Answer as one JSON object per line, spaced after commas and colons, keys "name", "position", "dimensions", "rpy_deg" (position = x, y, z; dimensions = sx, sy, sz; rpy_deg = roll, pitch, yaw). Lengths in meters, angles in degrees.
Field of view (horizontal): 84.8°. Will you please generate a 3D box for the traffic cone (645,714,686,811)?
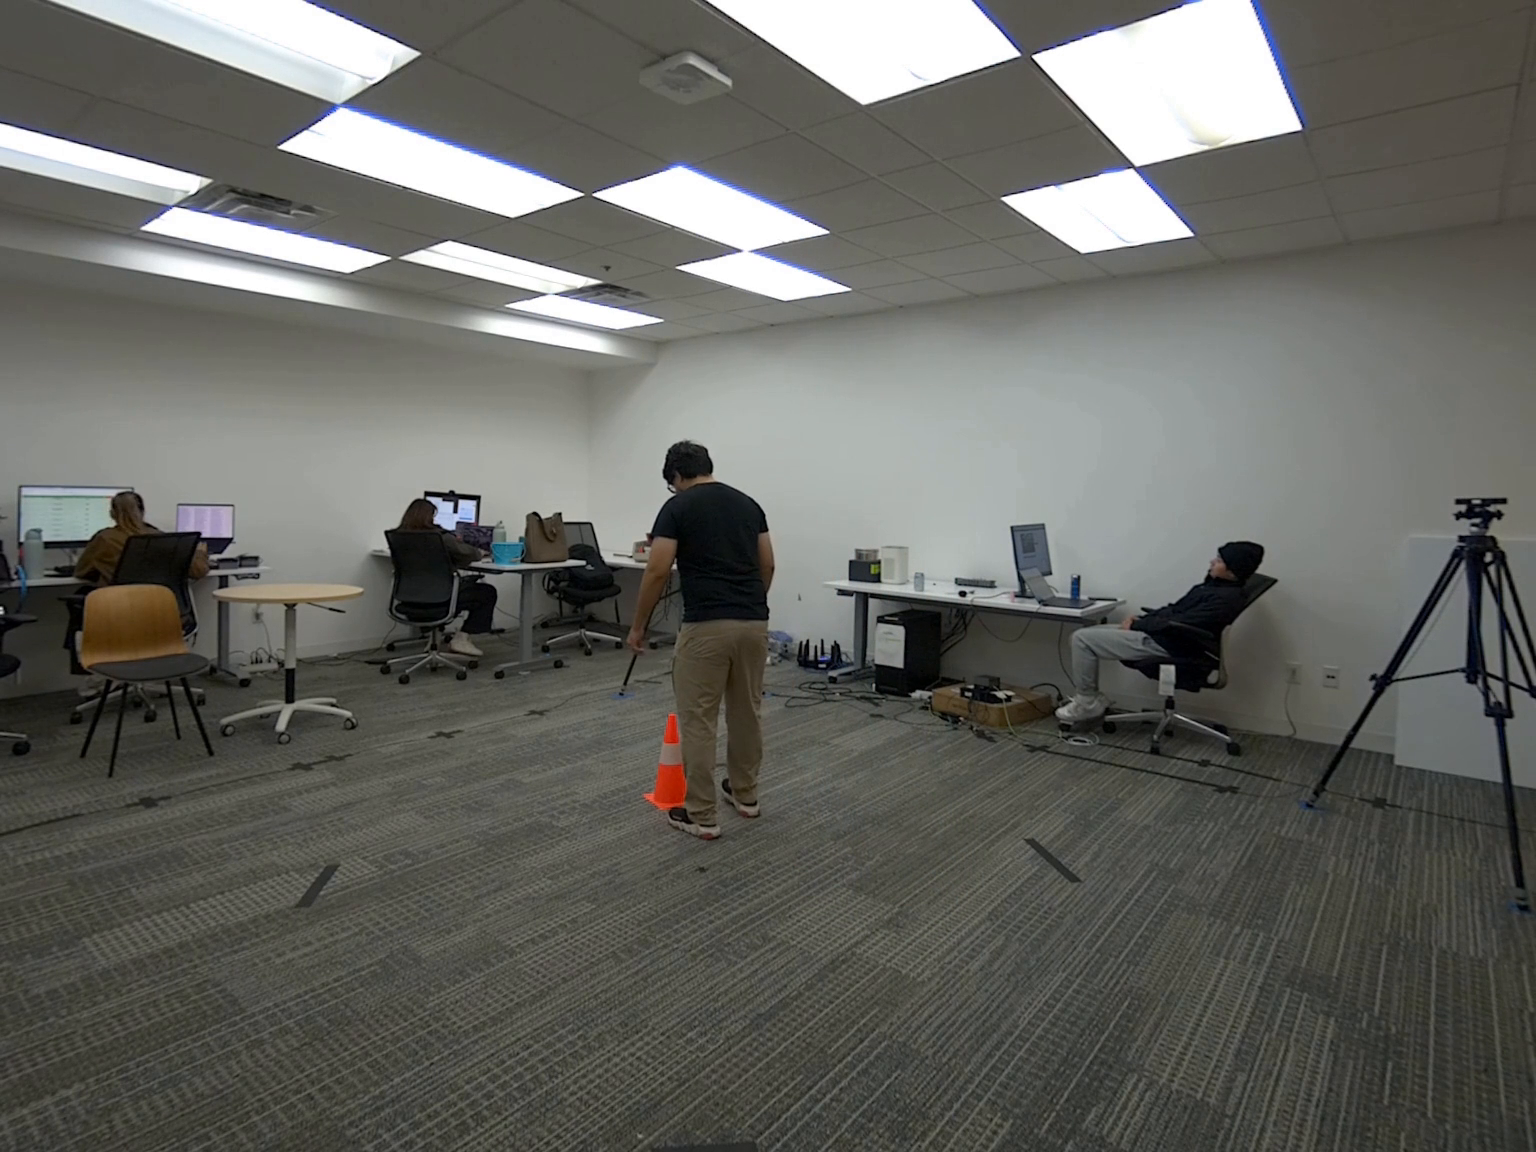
{"name": "traffic cone", "position": [-0.449, 0.813, 3.813], "dimensions": [0.198, 0.382, 0.211], "rpy_deg": [-3, 5, -33]}
